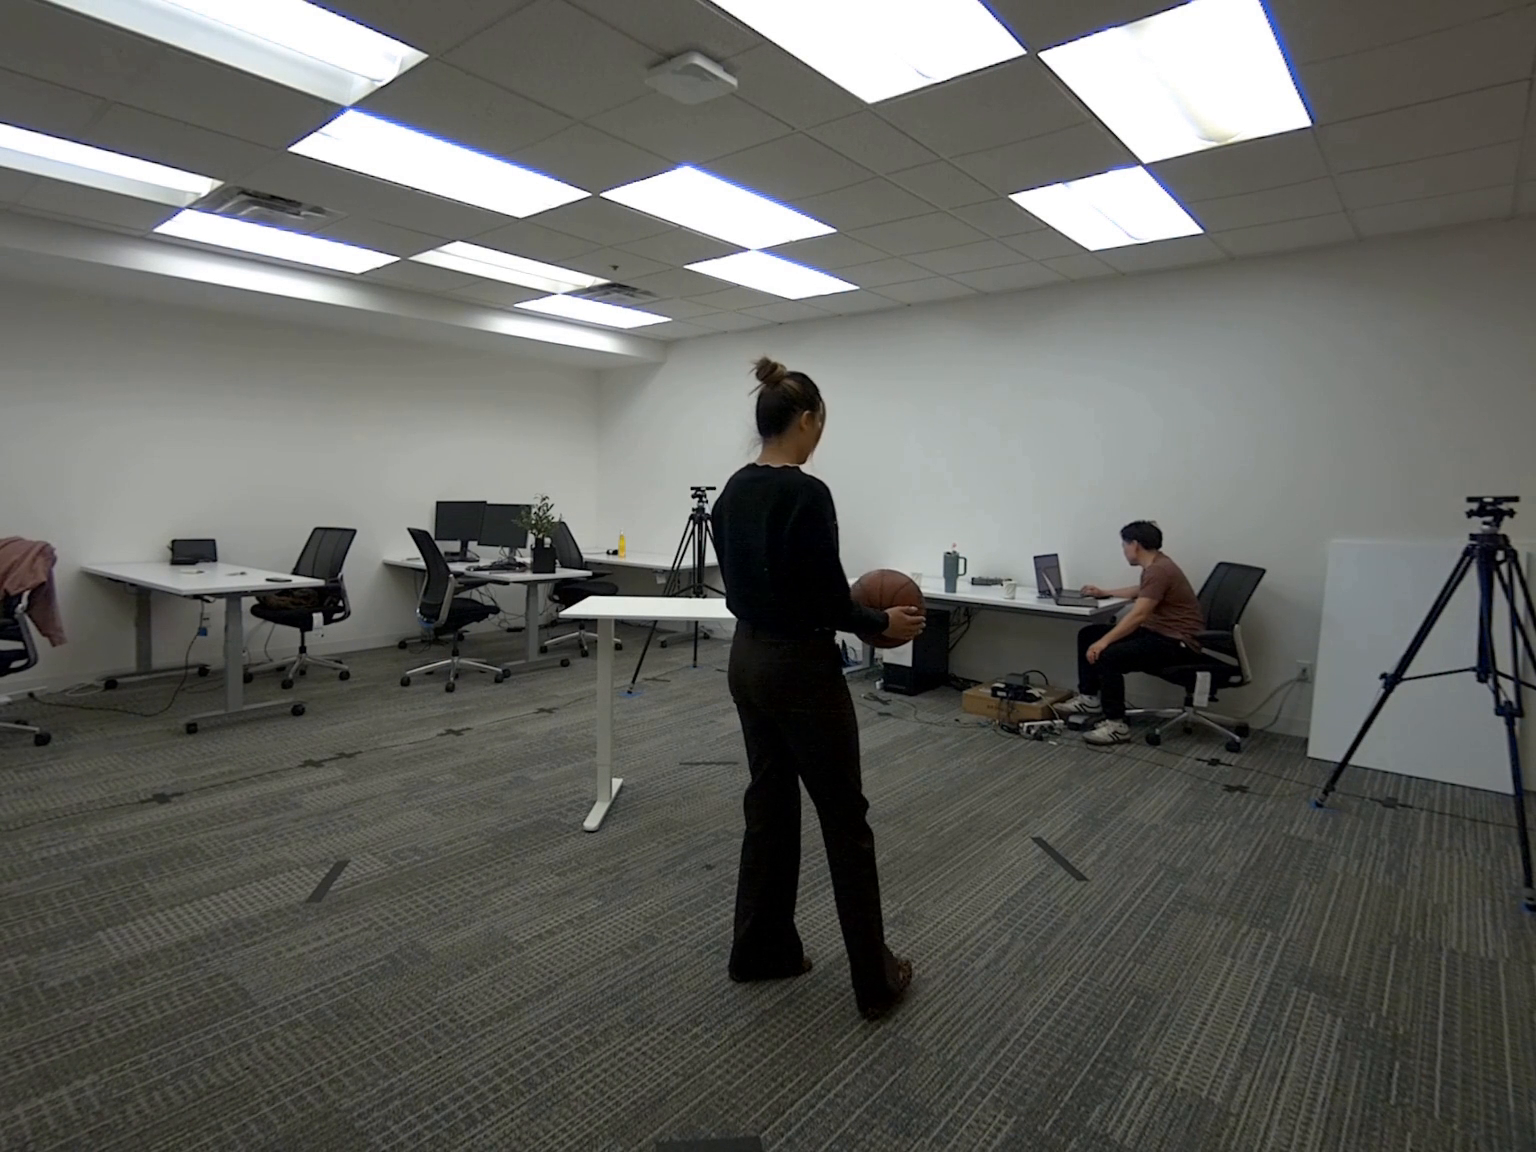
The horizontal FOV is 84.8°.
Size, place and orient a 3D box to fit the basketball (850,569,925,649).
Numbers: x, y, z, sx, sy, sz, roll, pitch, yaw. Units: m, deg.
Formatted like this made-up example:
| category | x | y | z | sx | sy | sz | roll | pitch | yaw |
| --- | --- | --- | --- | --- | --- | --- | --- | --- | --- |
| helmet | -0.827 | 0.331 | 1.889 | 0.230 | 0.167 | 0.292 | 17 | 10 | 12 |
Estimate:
| category | x | y | z | sx | sy | sz | roll | pitch | yaw |
| --- | --- | --- | --- | --- | --- | --- | --- | --- | --- |
| basketball | 0.339 | 0.096 | 2.517 | 0.235 | 0.235 | 0.237 | 1 | 4 | -2 |
